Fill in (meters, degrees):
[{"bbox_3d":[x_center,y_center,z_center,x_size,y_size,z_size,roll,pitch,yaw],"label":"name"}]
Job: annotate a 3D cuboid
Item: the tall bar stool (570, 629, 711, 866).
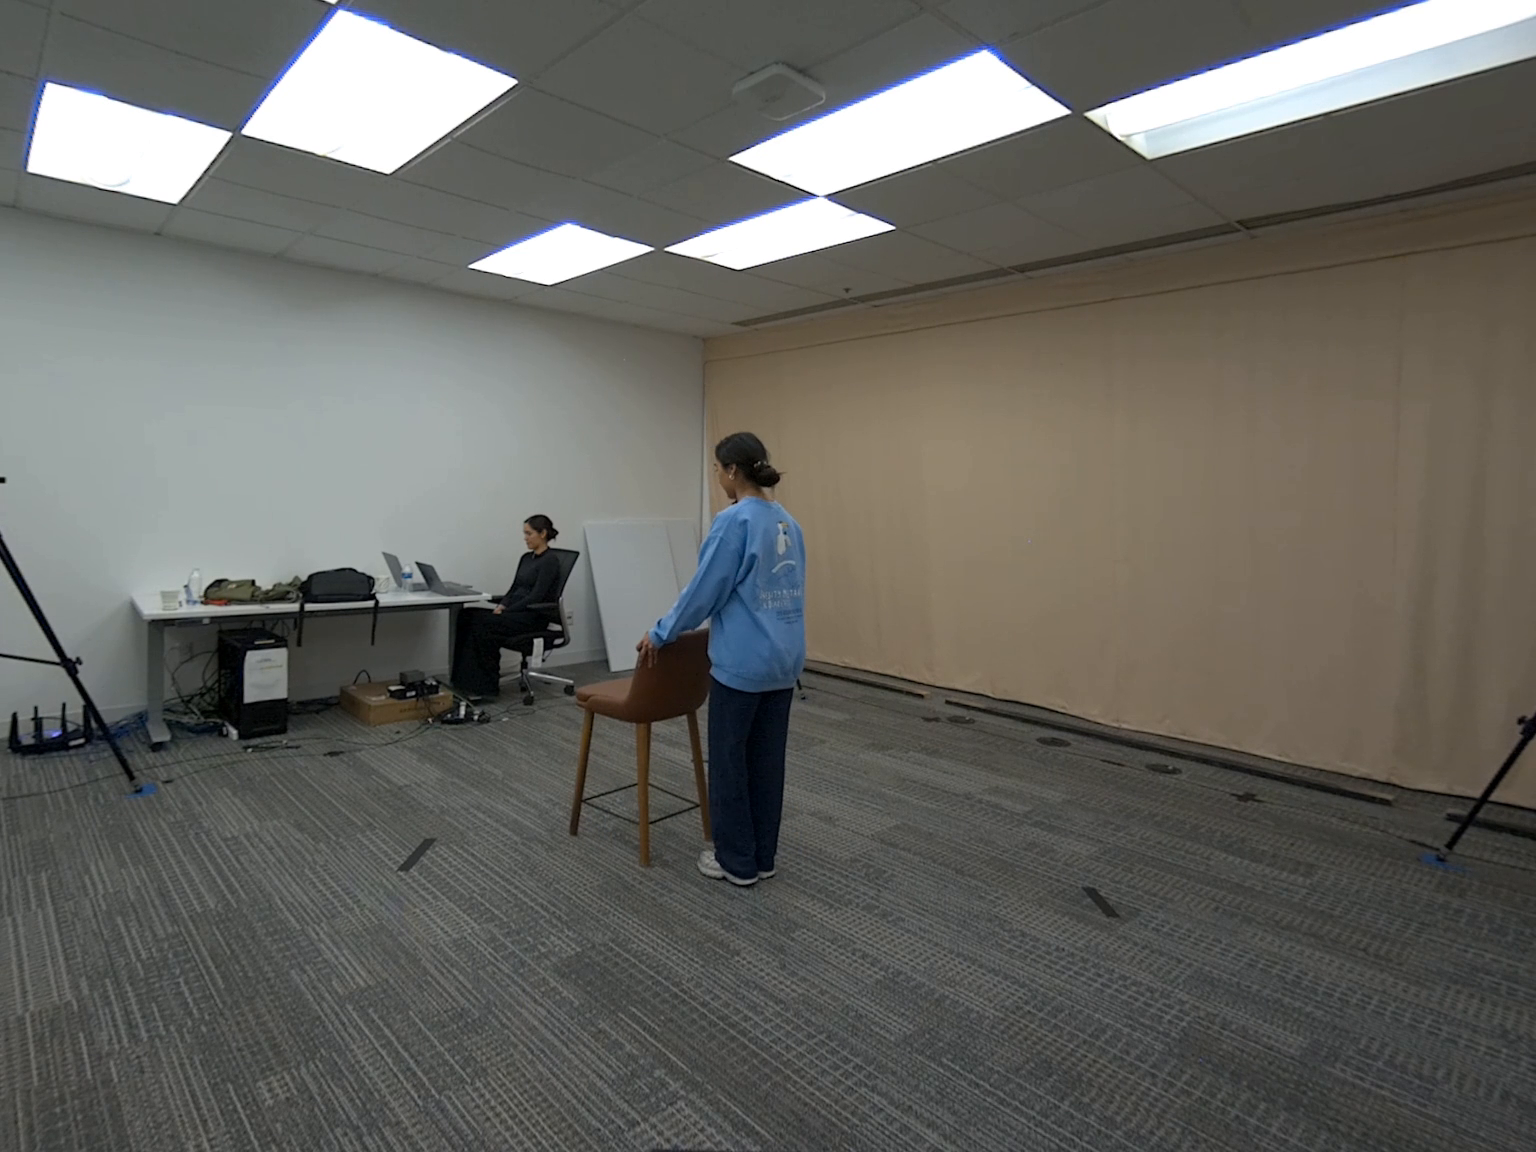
[{"bbox_3d":[-0.502,0.630,3.408,0.480,0.886,0.446,8,7,41],"label":"tall bar stool"}]
